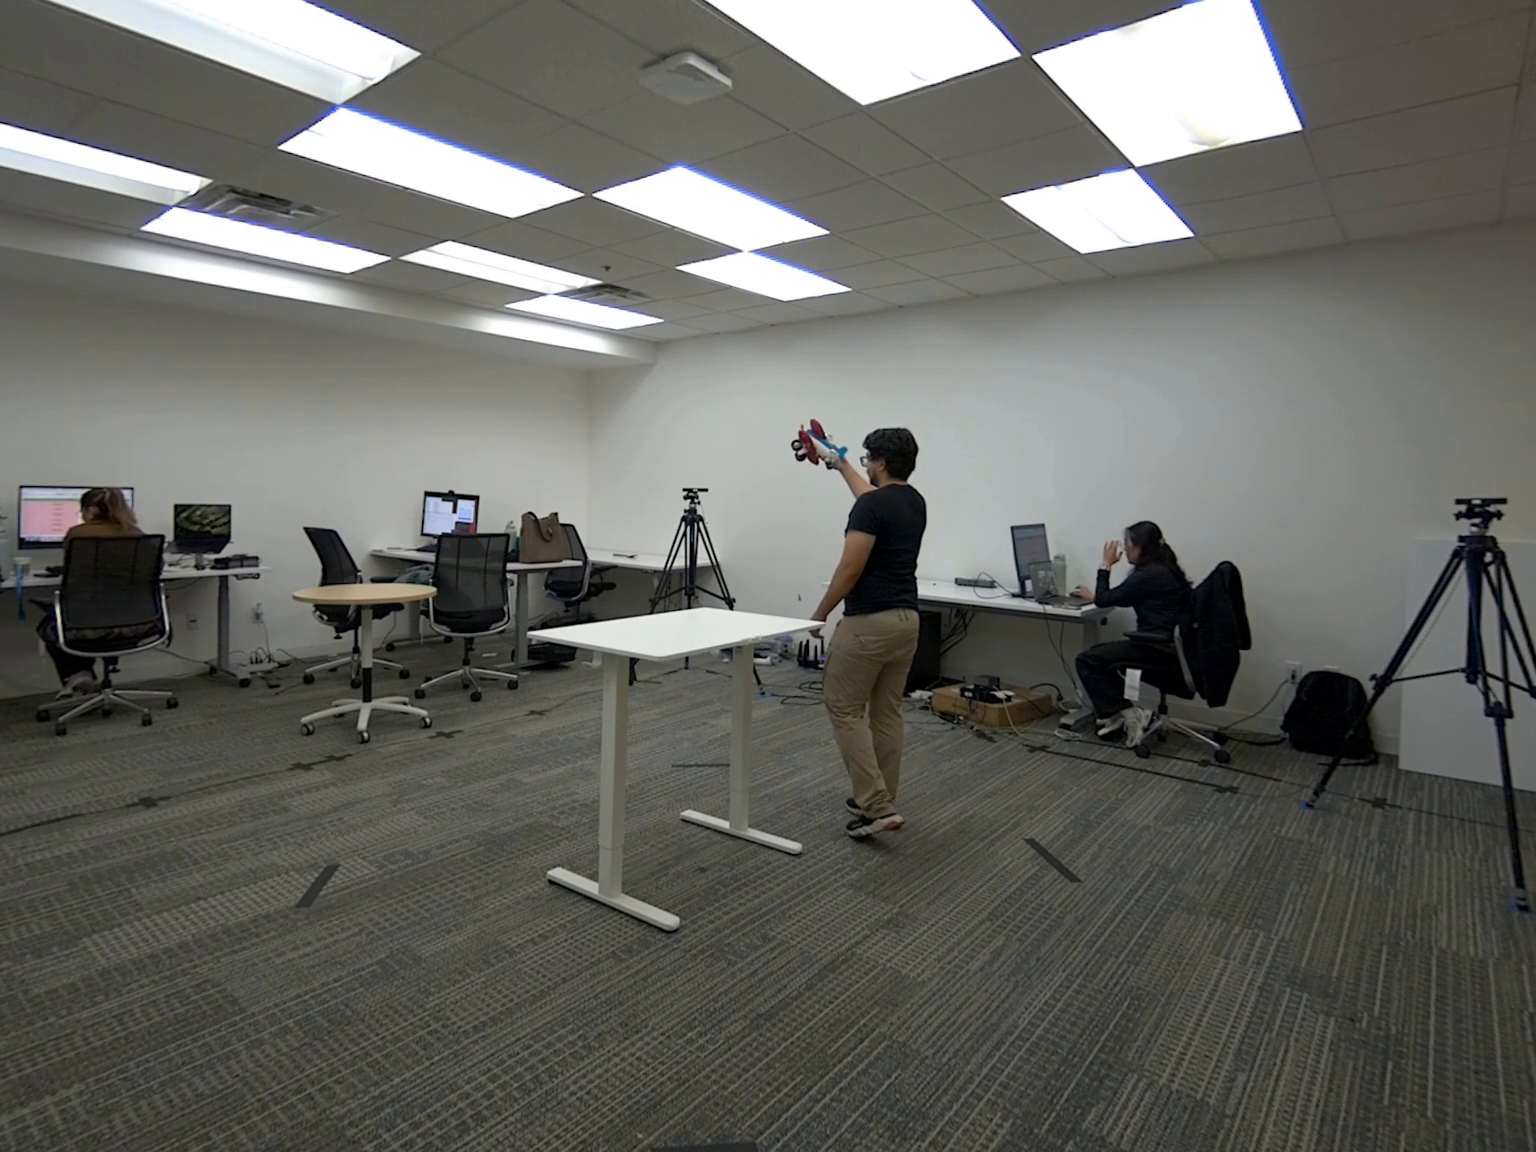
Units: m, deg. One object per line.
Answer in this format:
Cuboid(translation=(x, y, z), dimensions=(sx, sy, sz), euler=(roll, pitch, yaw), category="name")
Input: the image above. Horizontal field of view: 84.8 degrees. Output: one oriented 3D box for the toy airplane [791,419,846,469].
Cuboid(translation=(0.234, -0.607, 4.062), dimensions=(0.260, 0.157, 0.250), euler=(33, -18, 0), category="toy airplane")
